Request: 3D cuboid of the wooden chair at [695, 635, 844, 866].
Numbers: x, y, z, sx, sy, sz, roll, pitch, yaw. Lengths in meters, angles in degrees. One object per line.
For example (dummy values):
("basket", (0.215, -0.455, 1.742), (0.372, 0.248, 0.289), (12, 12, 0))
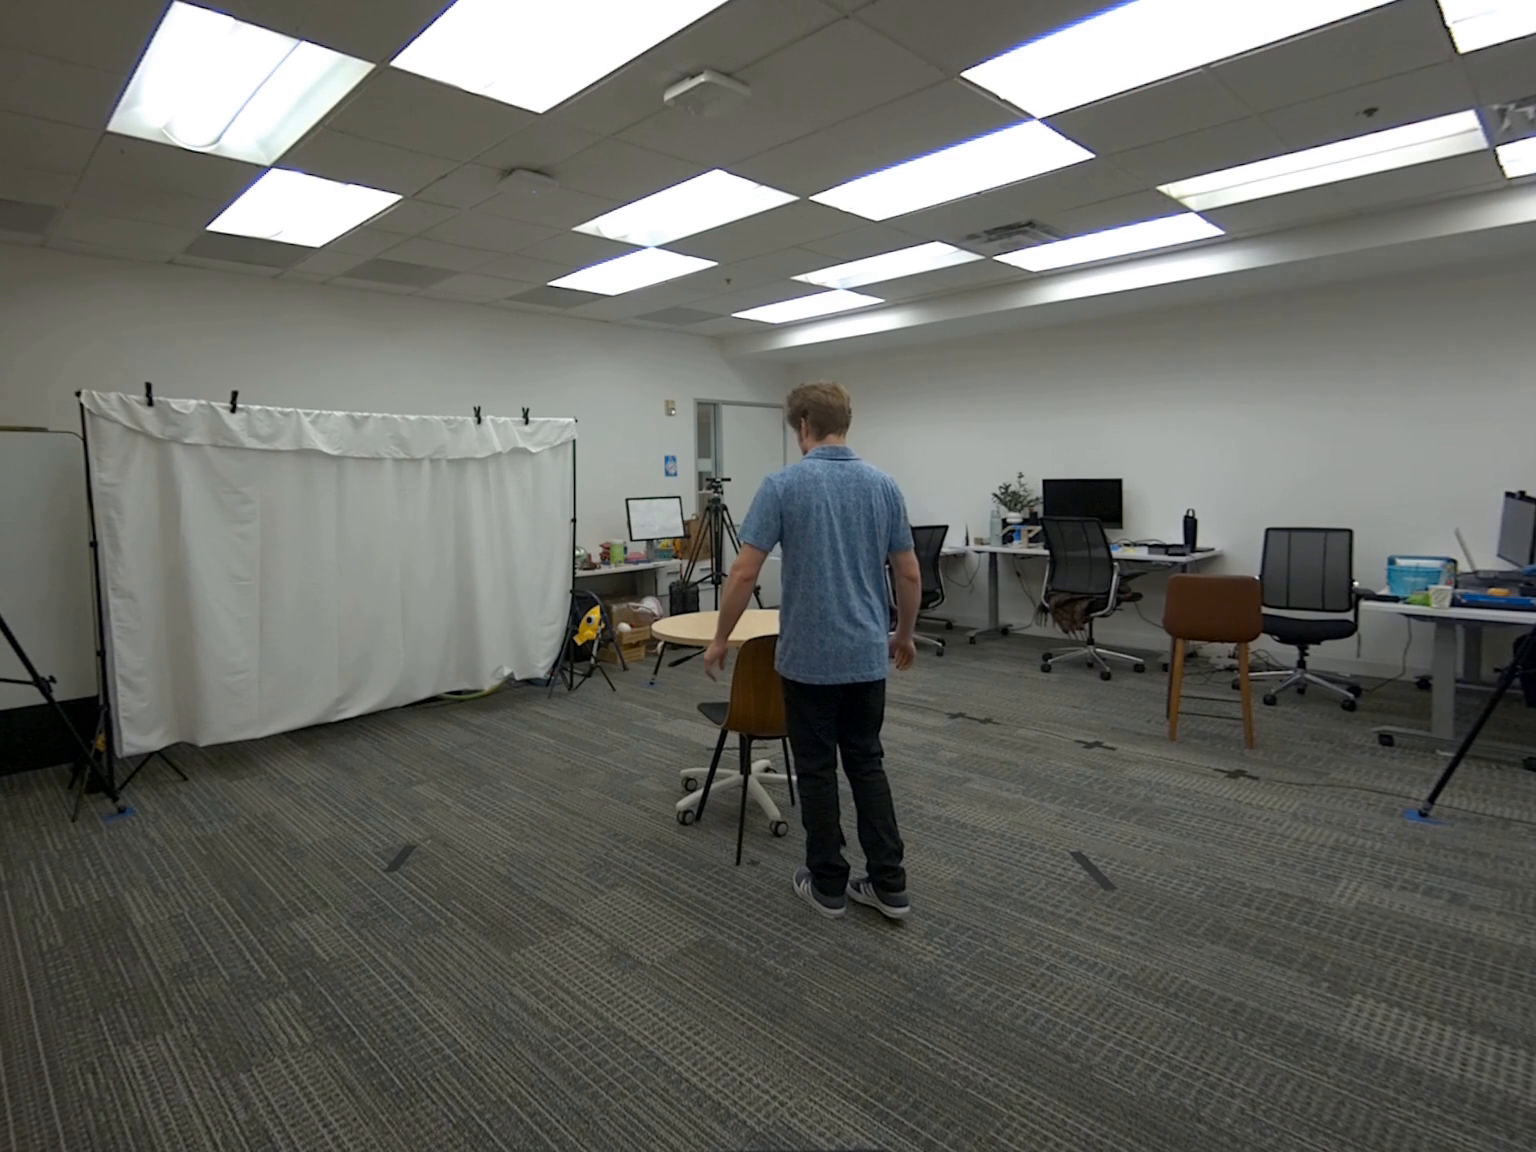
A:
("wooden chair", (-0.008, 0.587, 3.340), (0.469, 0.871, 0.537), (-2, 8, -23))
